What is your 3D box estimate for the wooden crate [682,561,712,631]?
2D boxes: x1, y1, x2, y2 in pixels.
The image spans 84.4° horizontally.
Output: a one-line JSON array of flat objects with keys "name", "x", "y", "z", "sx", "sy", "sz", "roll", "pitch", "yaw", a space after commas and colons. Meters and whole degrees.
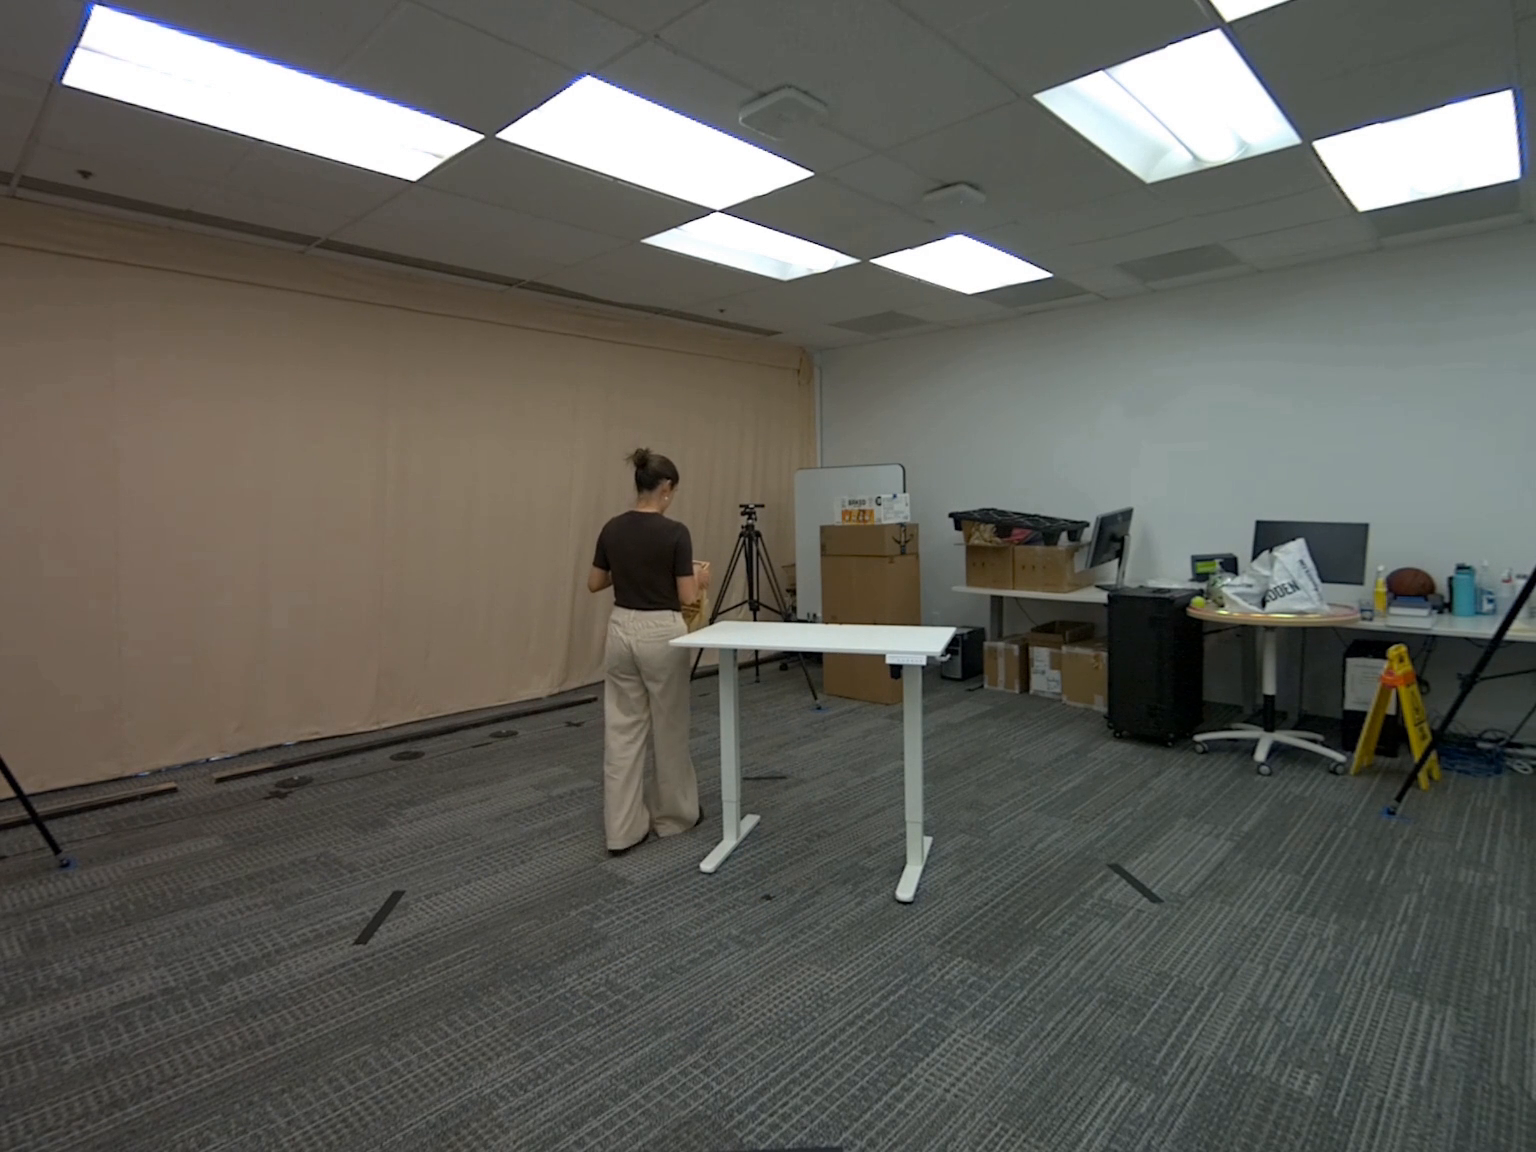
[{"name": "wooden crate", "x": -0.445, "y": 0.104, "z": 3.769, "sx": 0.332, "sy": 0.268, "sz": 0.301, "roll": 9, "pitch": 36, "yaw": 22}]
